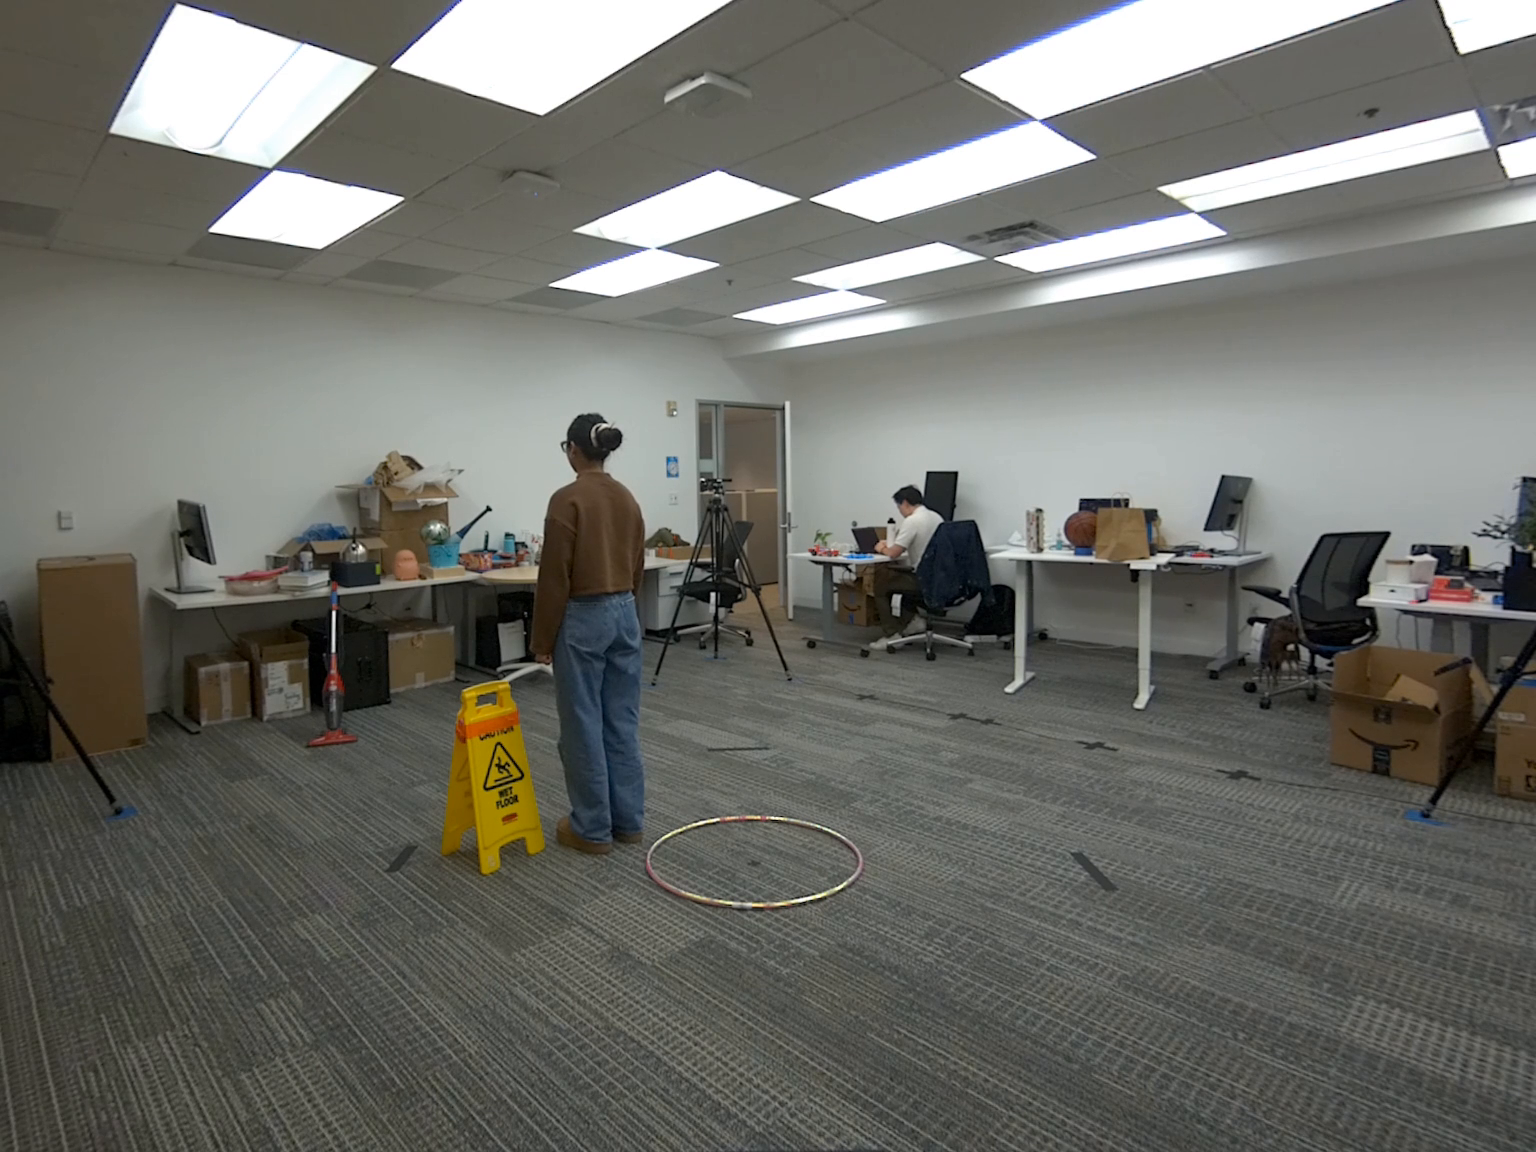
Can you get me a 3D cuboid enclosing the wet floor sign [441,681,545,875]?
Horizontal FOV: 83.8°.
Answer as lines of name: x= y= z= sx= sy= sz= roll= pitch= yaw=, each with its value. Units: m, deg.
wet floor sign: x=-1.057 y=0.730 z=3.224 sx=0.298 sy=0.644 sz=0.275 roll=2 pitch=4 yaw=38
